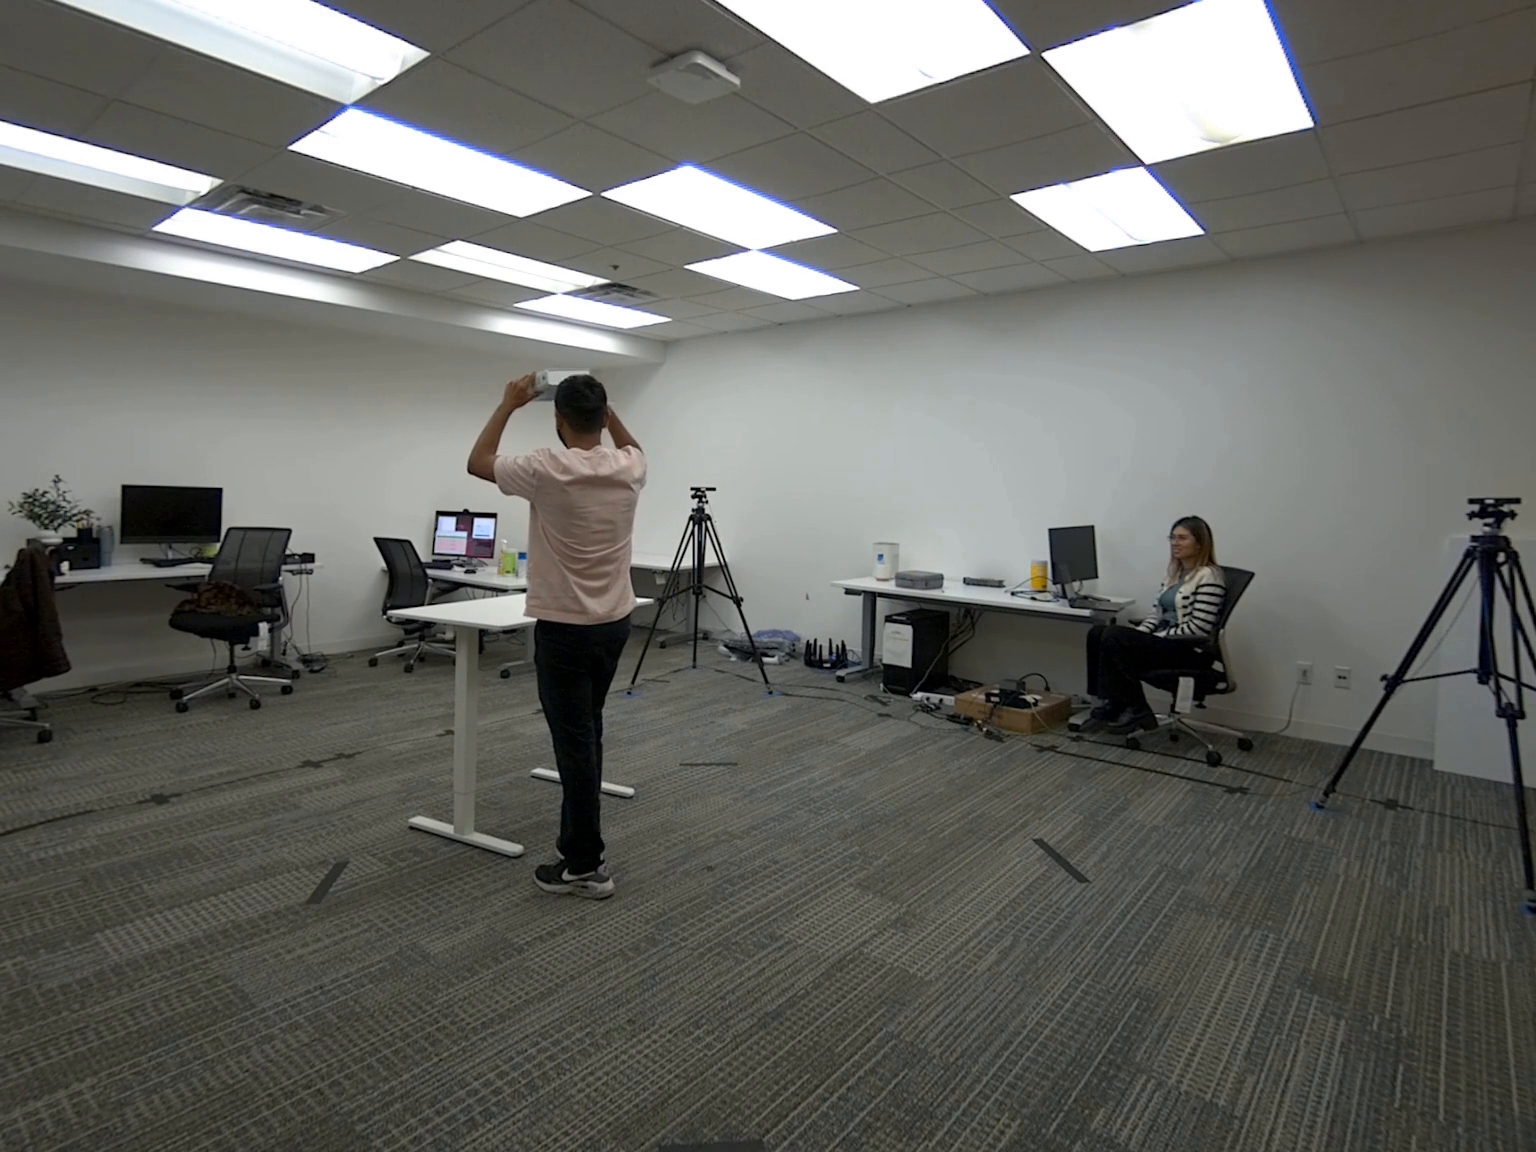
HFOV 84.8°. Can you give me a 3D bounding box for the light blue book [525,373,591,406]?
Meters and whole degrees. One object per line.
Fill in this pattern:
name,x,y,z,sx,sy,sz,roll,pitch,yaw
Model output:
light blue book,-0.799,-0.684,3.086,0.268,0.059,0.187,-6,6,46
